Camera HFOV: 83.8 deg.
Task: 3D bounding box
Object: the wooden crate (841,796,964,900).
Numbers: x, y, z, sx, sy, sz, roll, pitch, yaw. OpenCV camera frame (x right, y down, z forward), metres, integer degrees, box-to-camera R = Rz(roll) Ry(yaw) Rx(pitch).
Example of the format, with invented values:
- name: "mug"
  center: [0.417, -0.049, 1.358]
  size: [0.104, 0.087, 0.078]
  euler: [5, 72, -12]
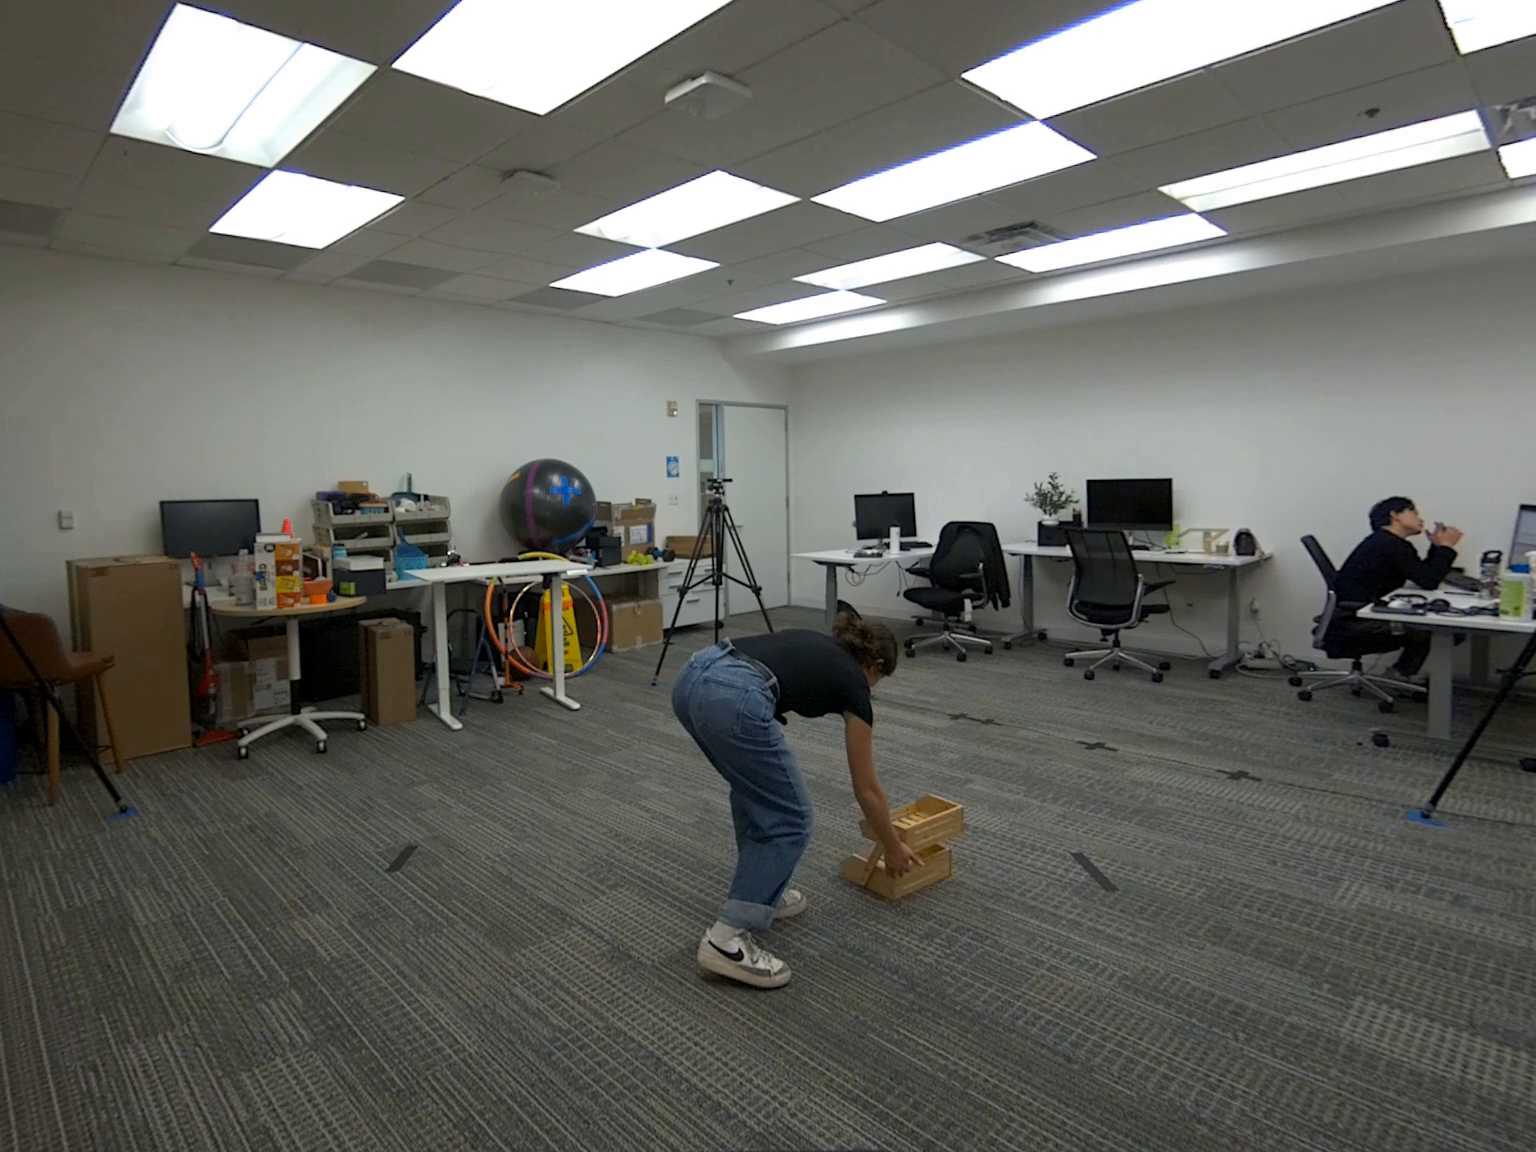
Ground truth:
- name: "wooden crate"
  center: [0.465, 0.917, 2.972]
  size: [0.316, 0.272, 0.311]
  euler: [-5, 7, -39]
